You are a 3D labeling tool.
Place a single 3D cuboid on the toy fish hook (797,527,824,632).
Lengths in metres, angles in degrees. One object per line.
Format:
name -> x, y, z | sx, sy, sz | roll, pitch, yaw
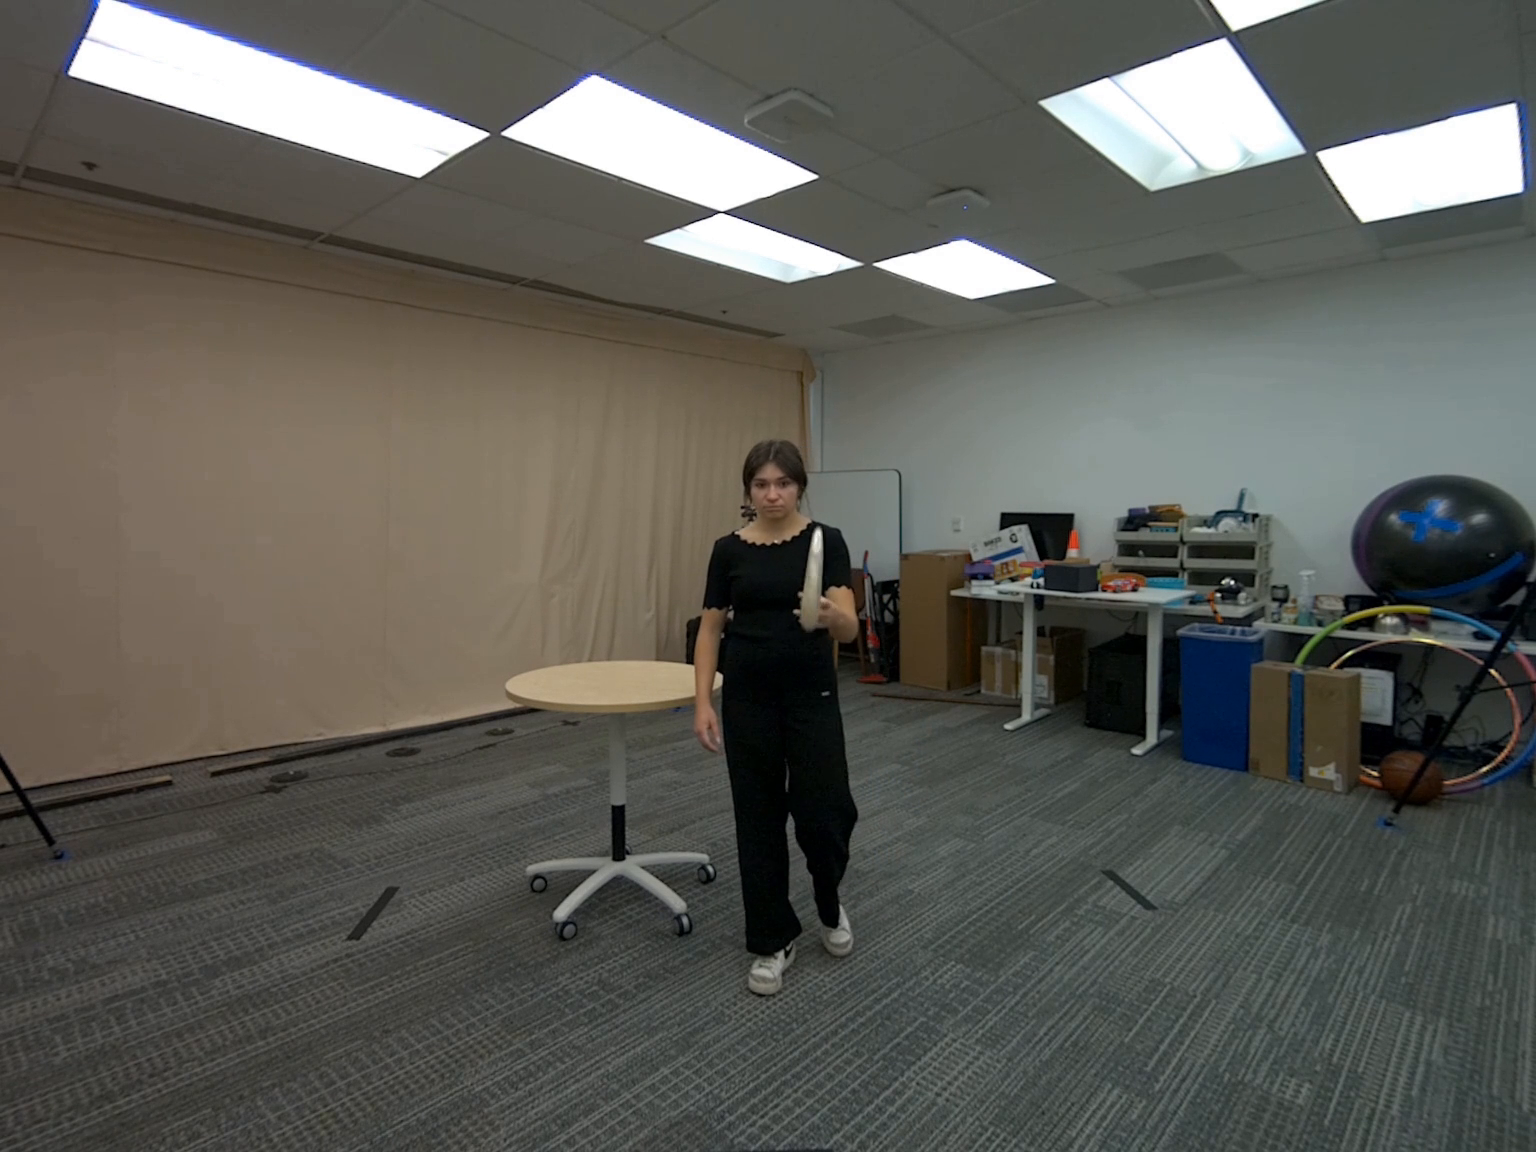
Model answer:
toy fish hook -> 0.114, 0.055, 2.006 | 0.048, 0.225, 0.502 | 10, -6, 2
